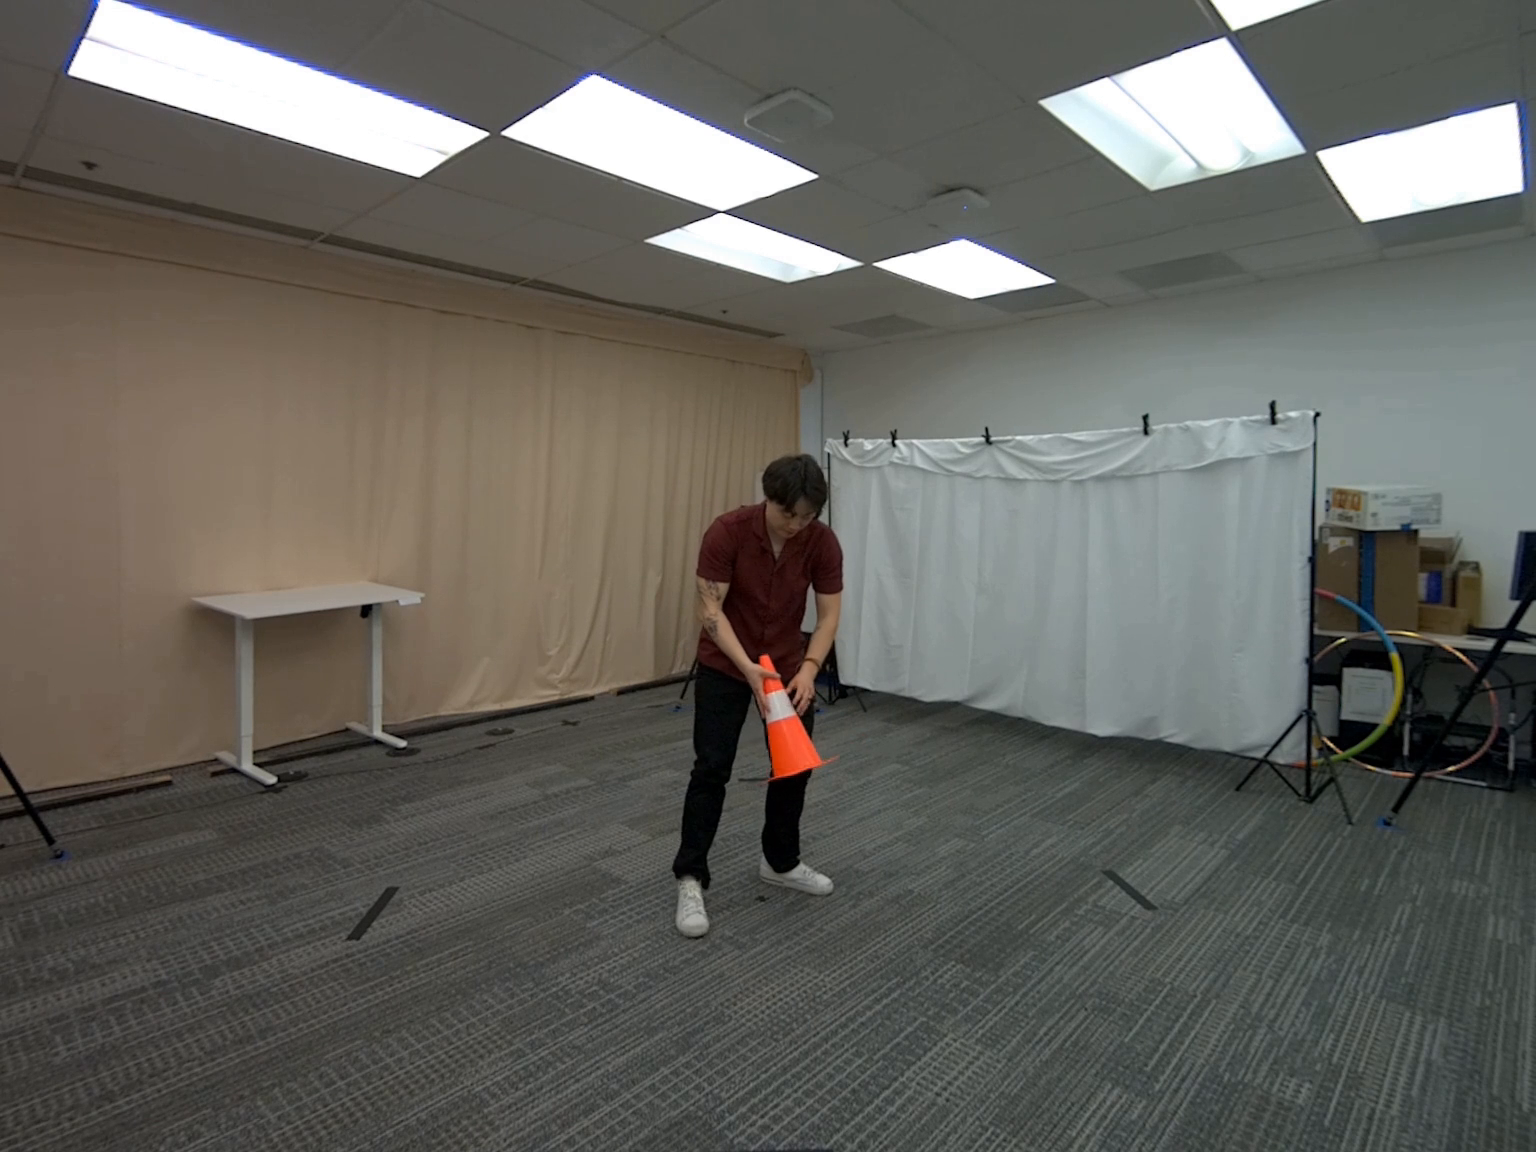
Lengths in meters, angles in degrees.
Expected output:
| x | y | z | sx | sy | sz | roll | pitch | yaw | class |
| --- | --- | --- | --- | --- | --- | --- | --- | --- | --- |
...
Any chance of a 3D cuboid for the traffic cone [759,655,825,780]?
| x | y | z | sx | sy | sz | roll | pitch | yaw | class |
| --- | --- | --- | --- | --- | --- | --- | --- | --- | --- |
| 0.030 | 0.439 | 2.709 | 0.199 | 0.389 | 0.206 | -9 | -17 | -35 | traffic cone |
